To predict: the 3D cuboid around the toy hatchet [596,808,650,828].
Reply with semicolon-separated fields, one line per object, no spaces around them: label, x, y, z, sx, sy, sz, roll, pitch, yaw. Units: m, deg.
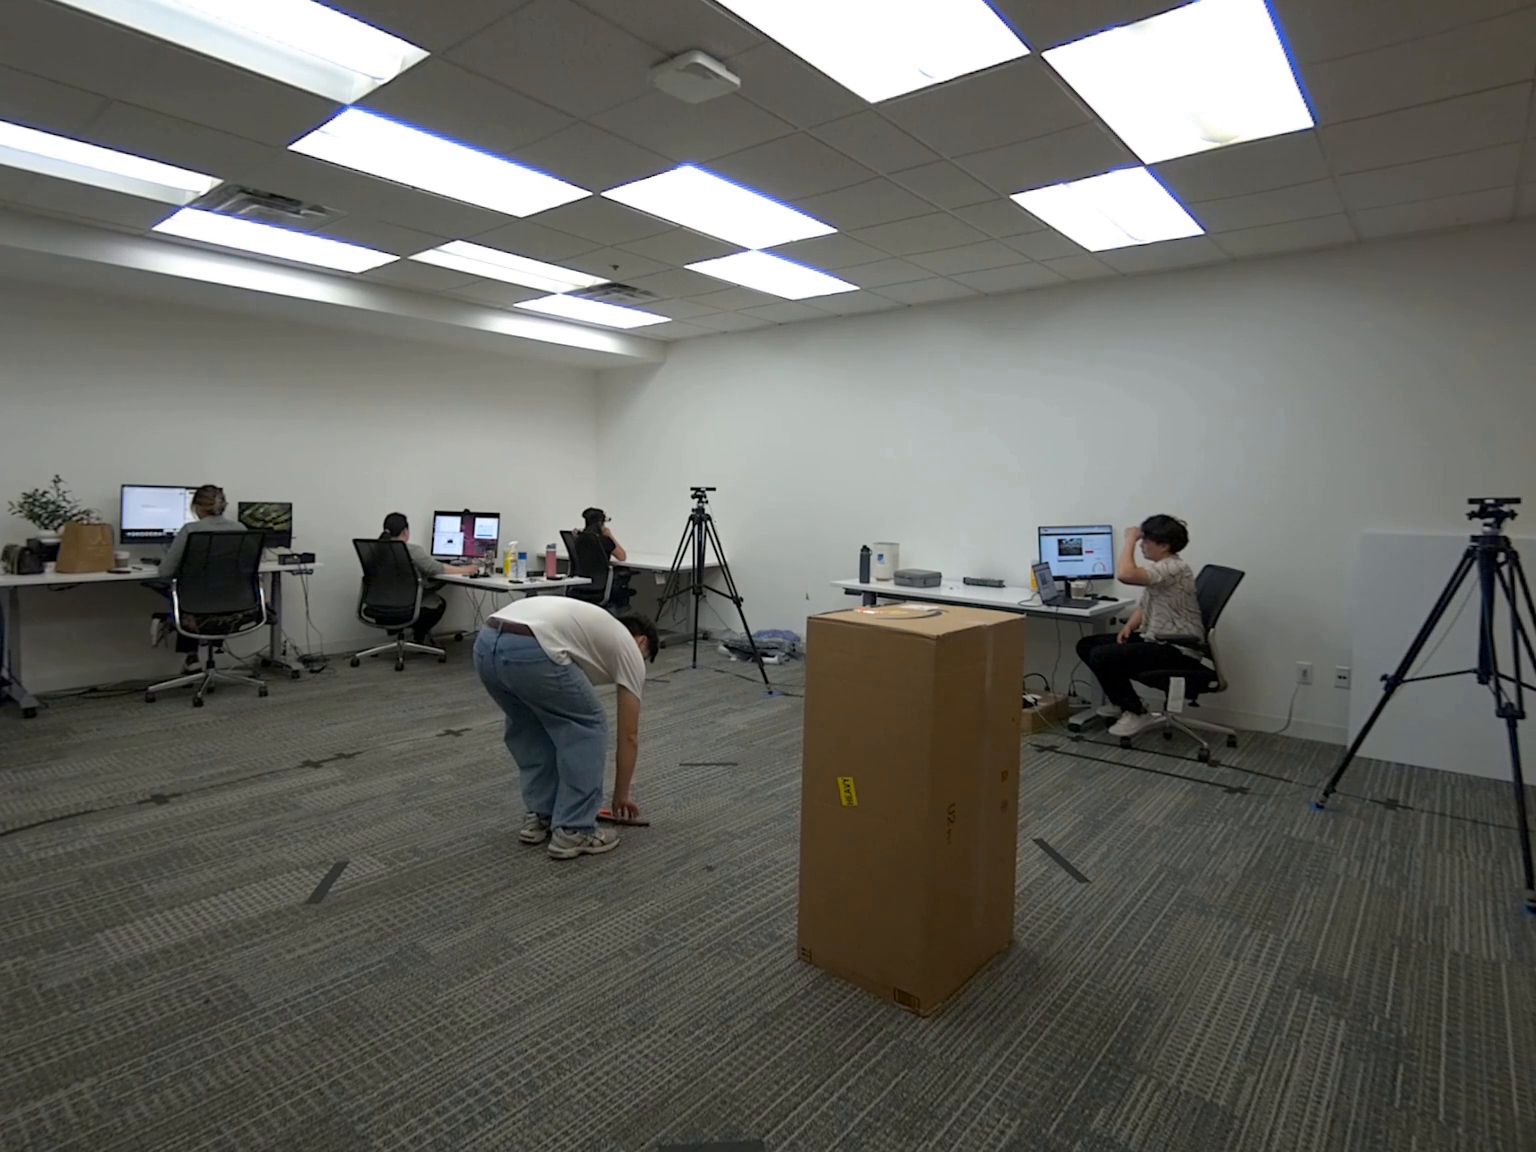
toy hatchet;-0.634;1.010;3.550;0.272;0.029;0.130;4;6;6
